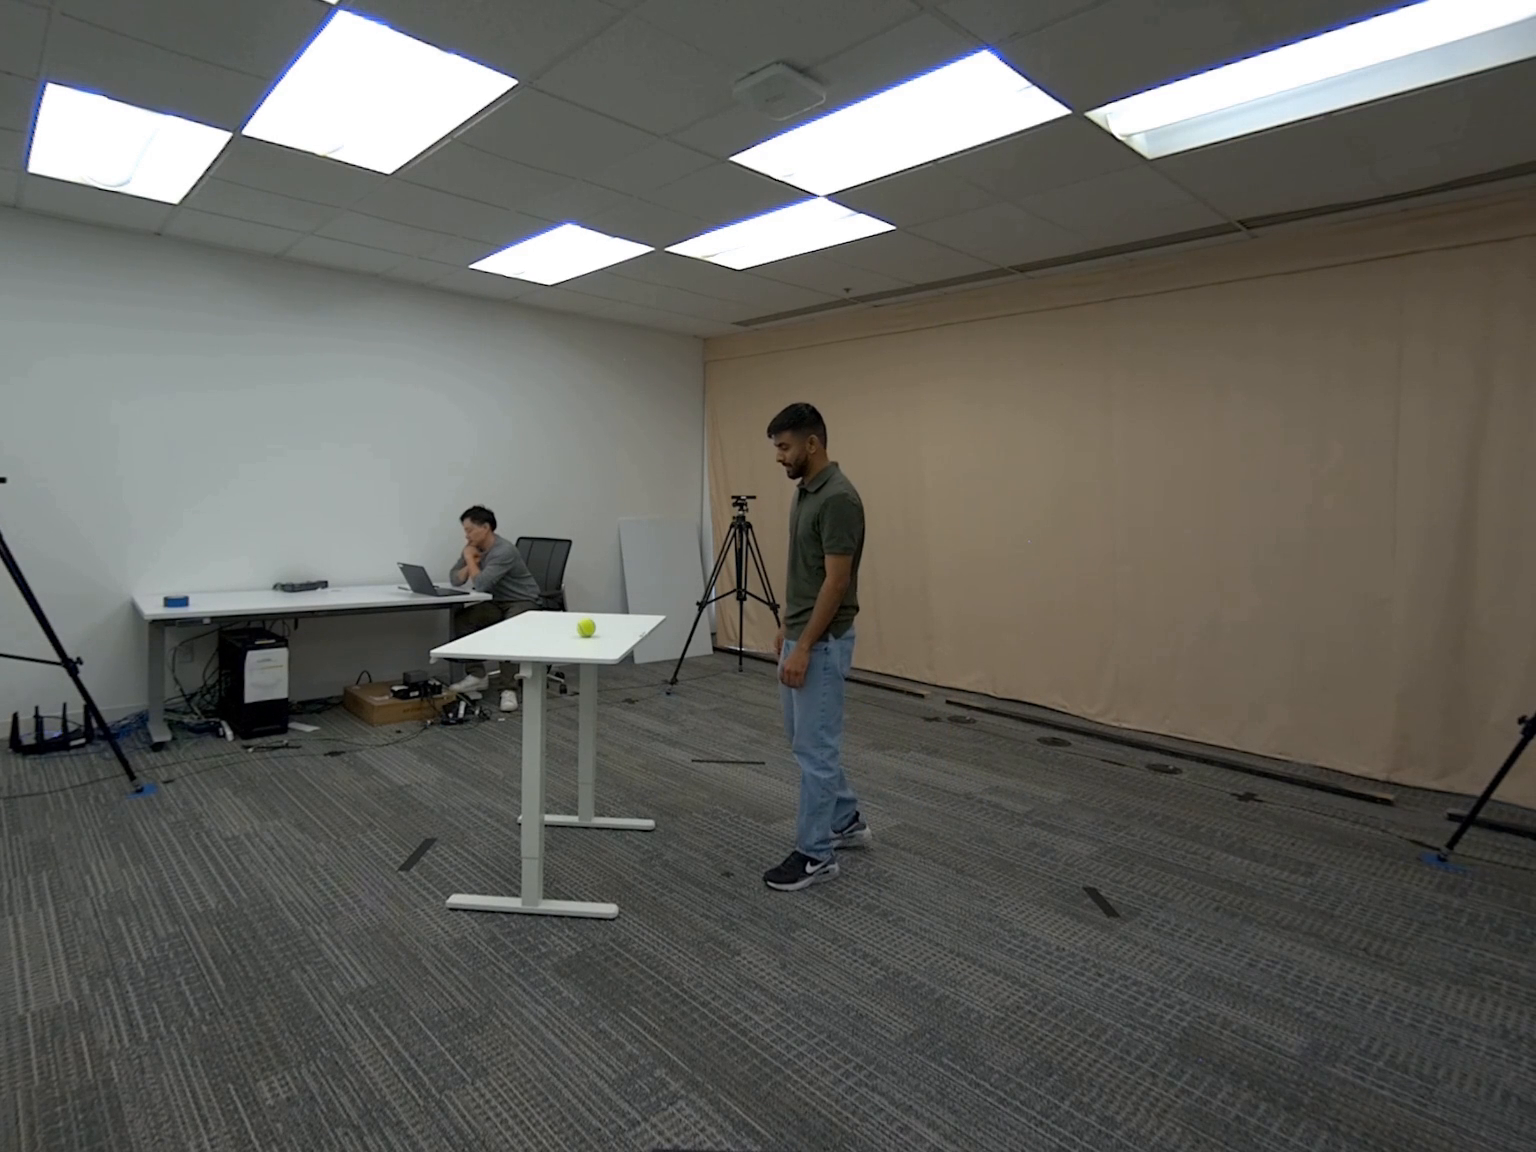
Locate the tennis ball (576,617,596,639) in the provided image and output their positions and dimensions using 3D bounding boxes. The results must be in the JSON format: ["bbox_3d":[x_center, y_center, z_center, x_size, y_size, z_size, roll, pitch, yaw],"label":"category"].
[{"bbox_3d":[-0.640,0.185,3.001,0.066,0.066,0.067,1,4,-1],"label":"tennis ball"}]
